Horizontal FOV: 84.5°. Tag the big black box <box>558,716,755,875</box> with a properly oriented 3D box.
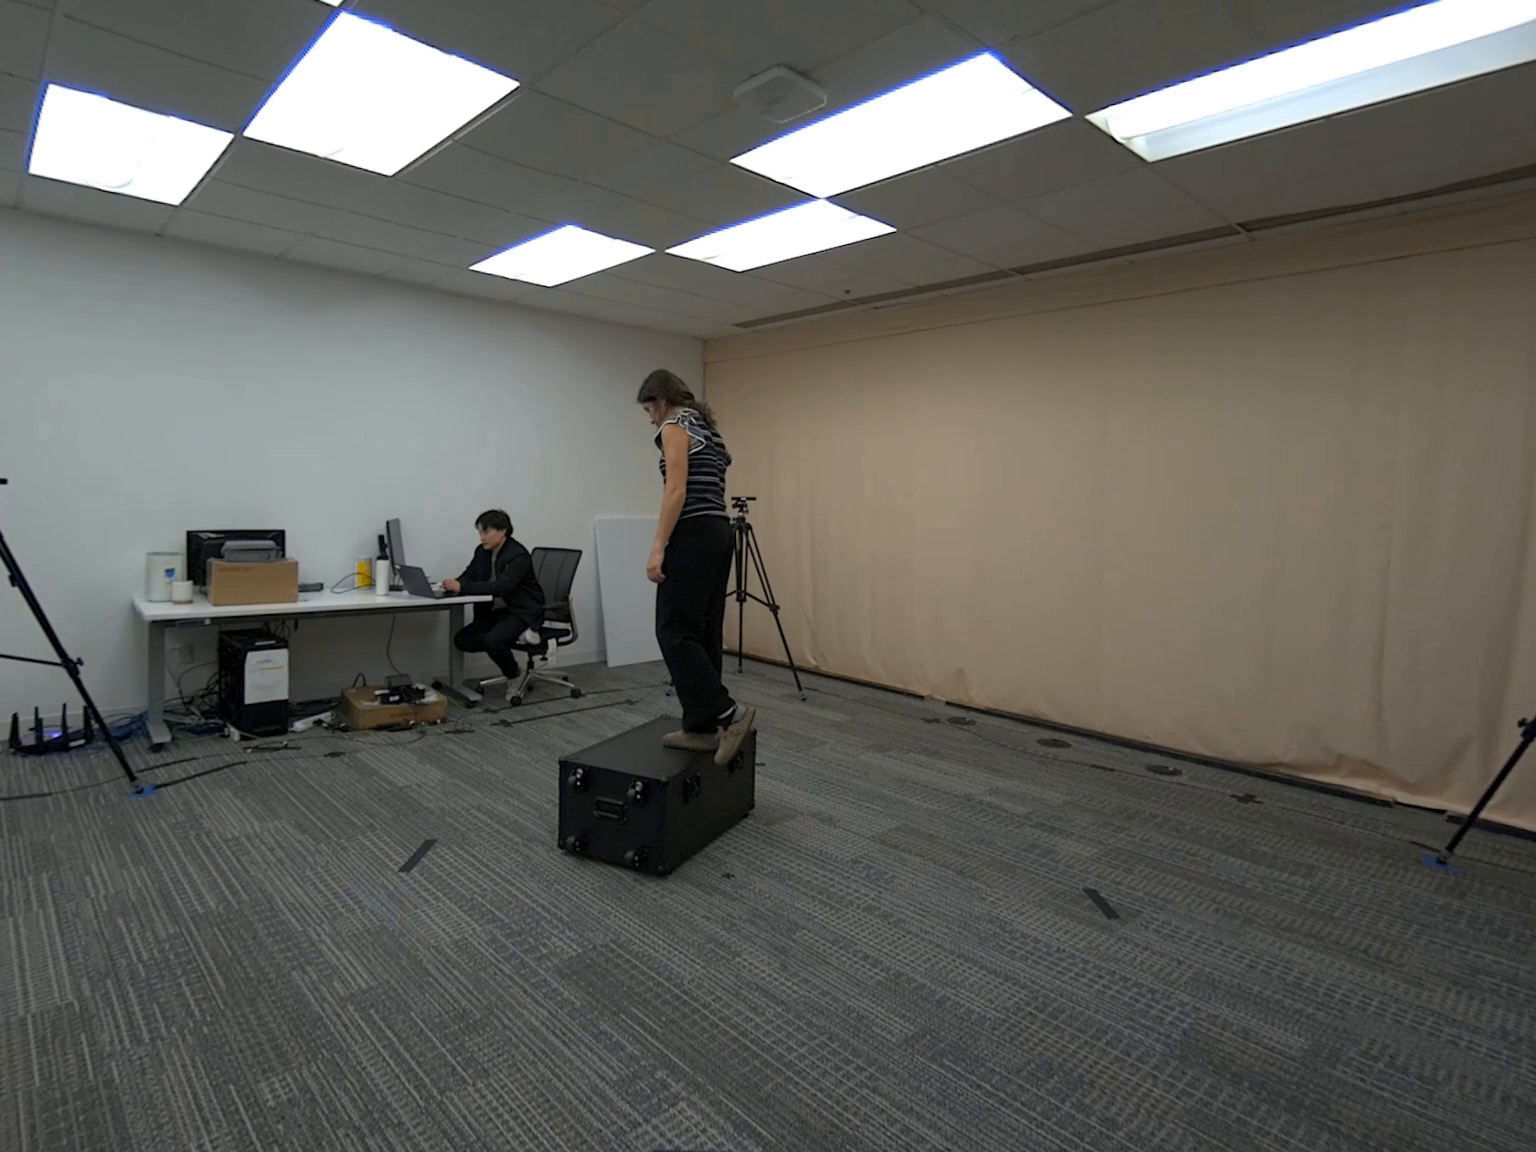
[{"bbox_3d":[-0.455,0.878,3.459,0.531,0.395,0.847,4,5,25],"label":"big black box"}]
